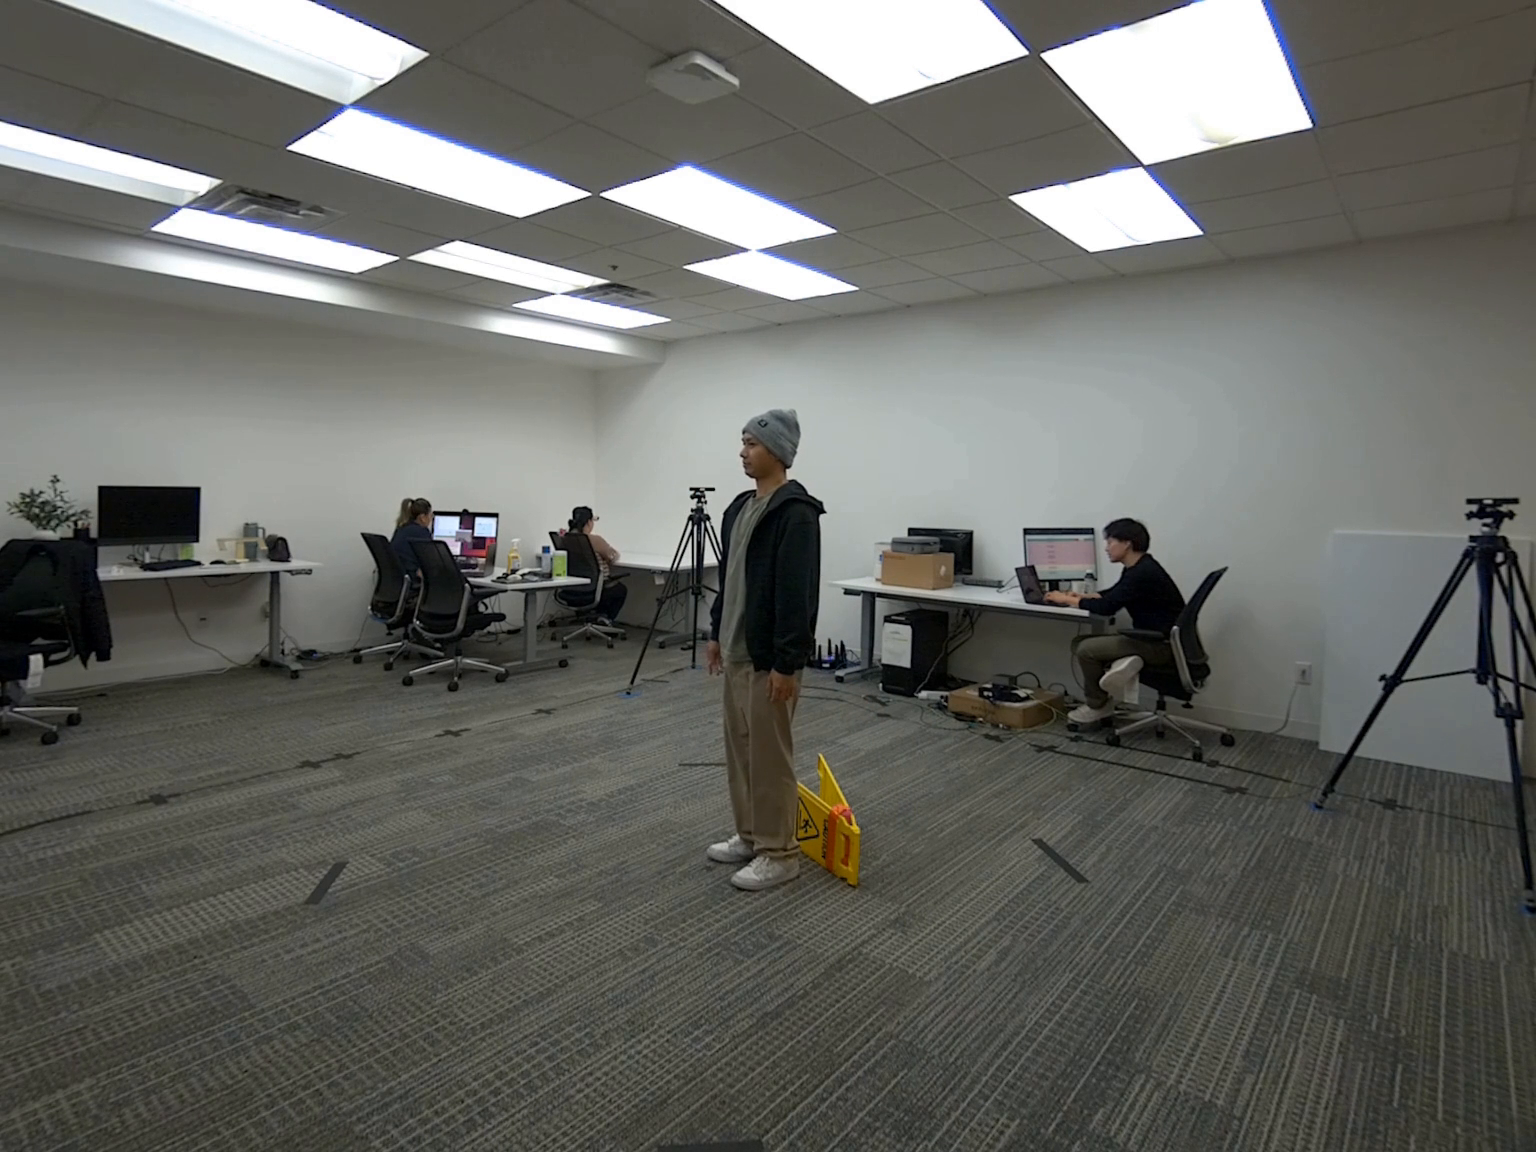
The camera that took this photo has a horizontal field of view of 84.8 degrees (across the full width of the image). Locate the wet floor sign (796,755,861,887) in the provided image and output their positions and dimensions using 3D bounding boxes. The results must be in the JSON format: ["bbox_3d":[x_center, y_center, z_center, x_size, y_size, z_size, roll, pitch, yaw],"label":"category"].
[{"bbox_3d":[0.202,0.934,3.276,0.284,0.280,0.662,1,8,-19],"label":"wet floor sign"}]
